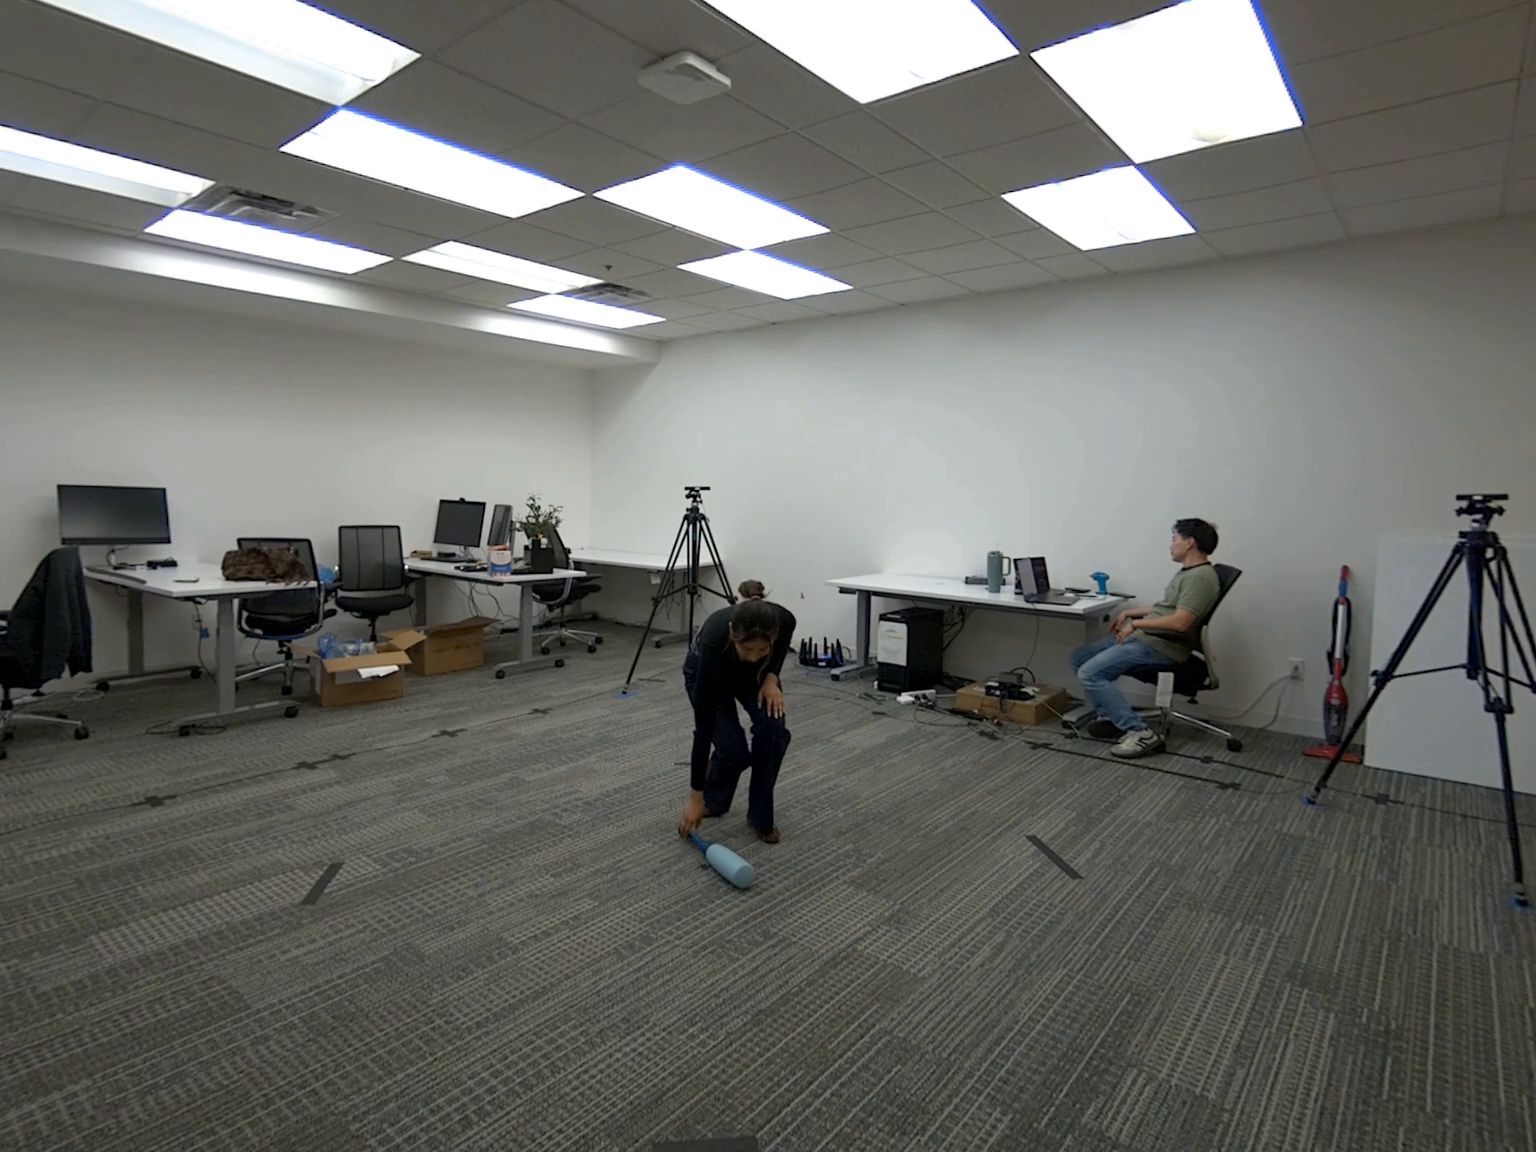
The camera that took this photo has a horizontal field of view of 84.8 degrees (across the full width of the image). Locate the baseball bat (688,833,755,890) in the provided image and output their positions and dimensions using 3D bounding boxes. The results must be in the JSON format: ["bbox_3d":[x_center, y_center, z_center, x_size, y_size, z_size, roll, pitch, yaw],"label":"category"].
[{"bbox_3d":[-0.221,1.024,3.161,0.087,0.089,0.557,-1,2,-28],"label":"baseball bat"}]
